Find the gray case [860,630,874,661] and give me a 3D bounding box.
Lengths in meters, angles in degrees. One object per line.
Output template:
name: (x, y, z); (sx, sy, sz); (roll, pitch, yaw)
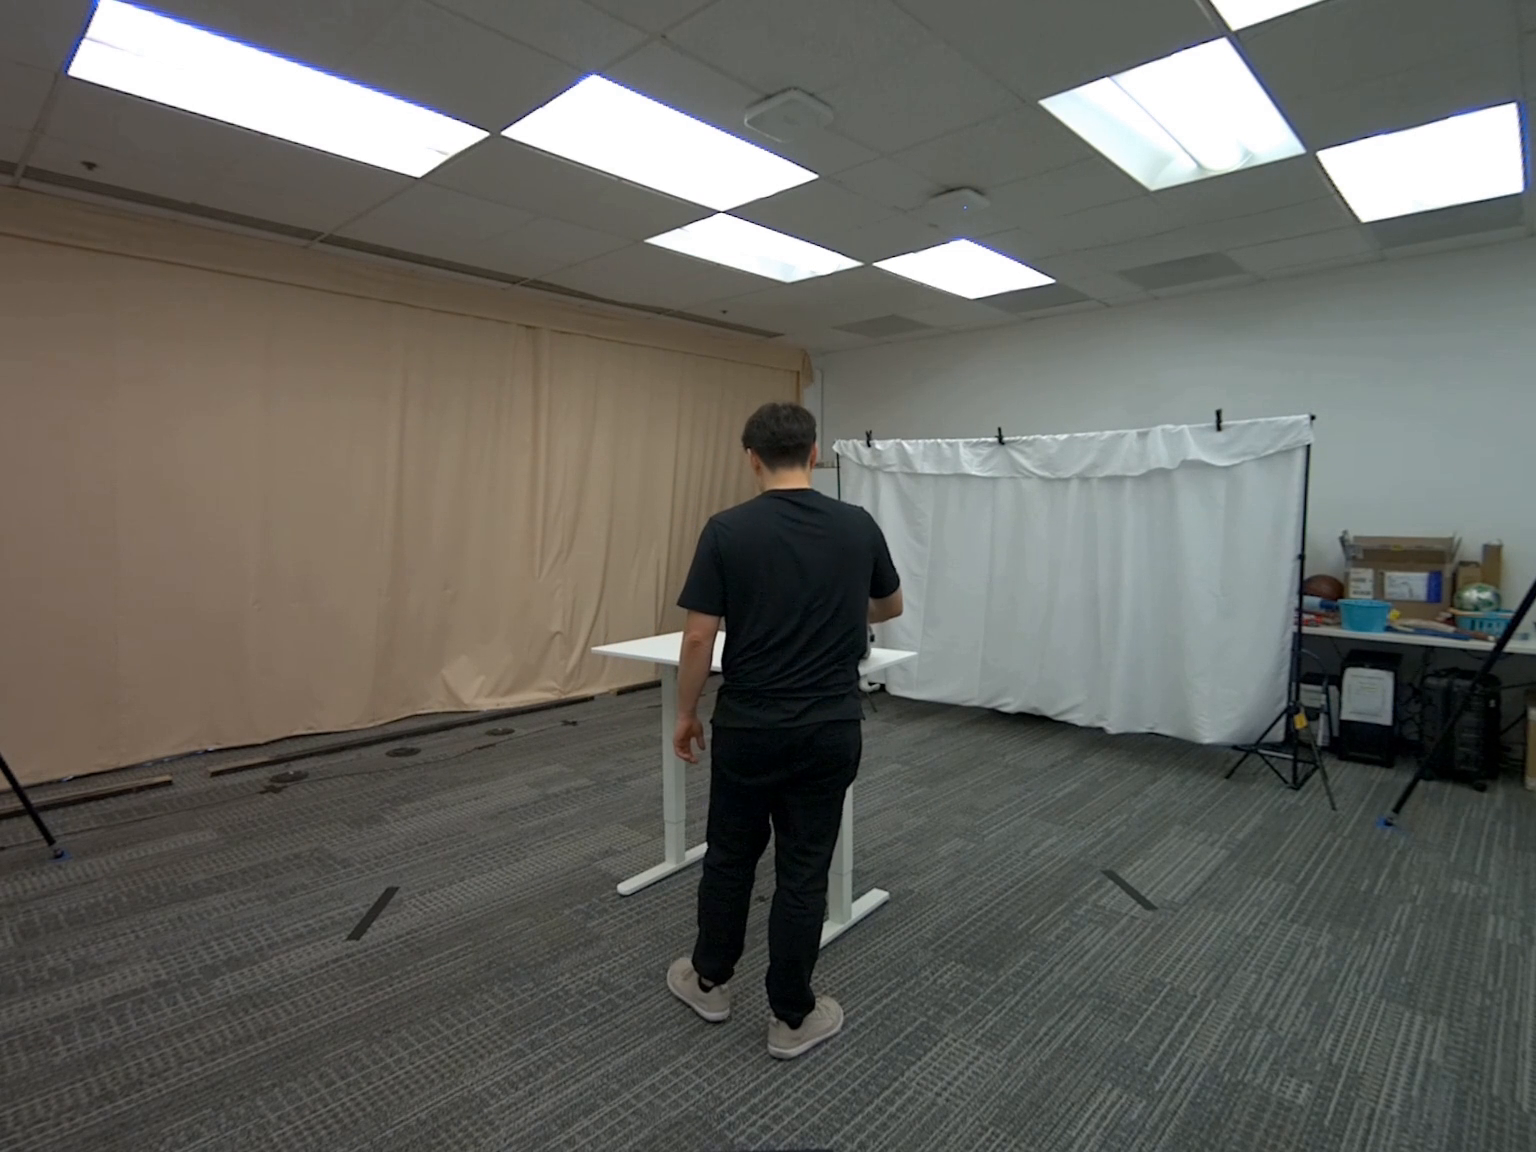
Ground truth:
gray case: (0.213, 0.199, 2.730); (0.260, 0.105, 0.256); (3, -11, 9)
